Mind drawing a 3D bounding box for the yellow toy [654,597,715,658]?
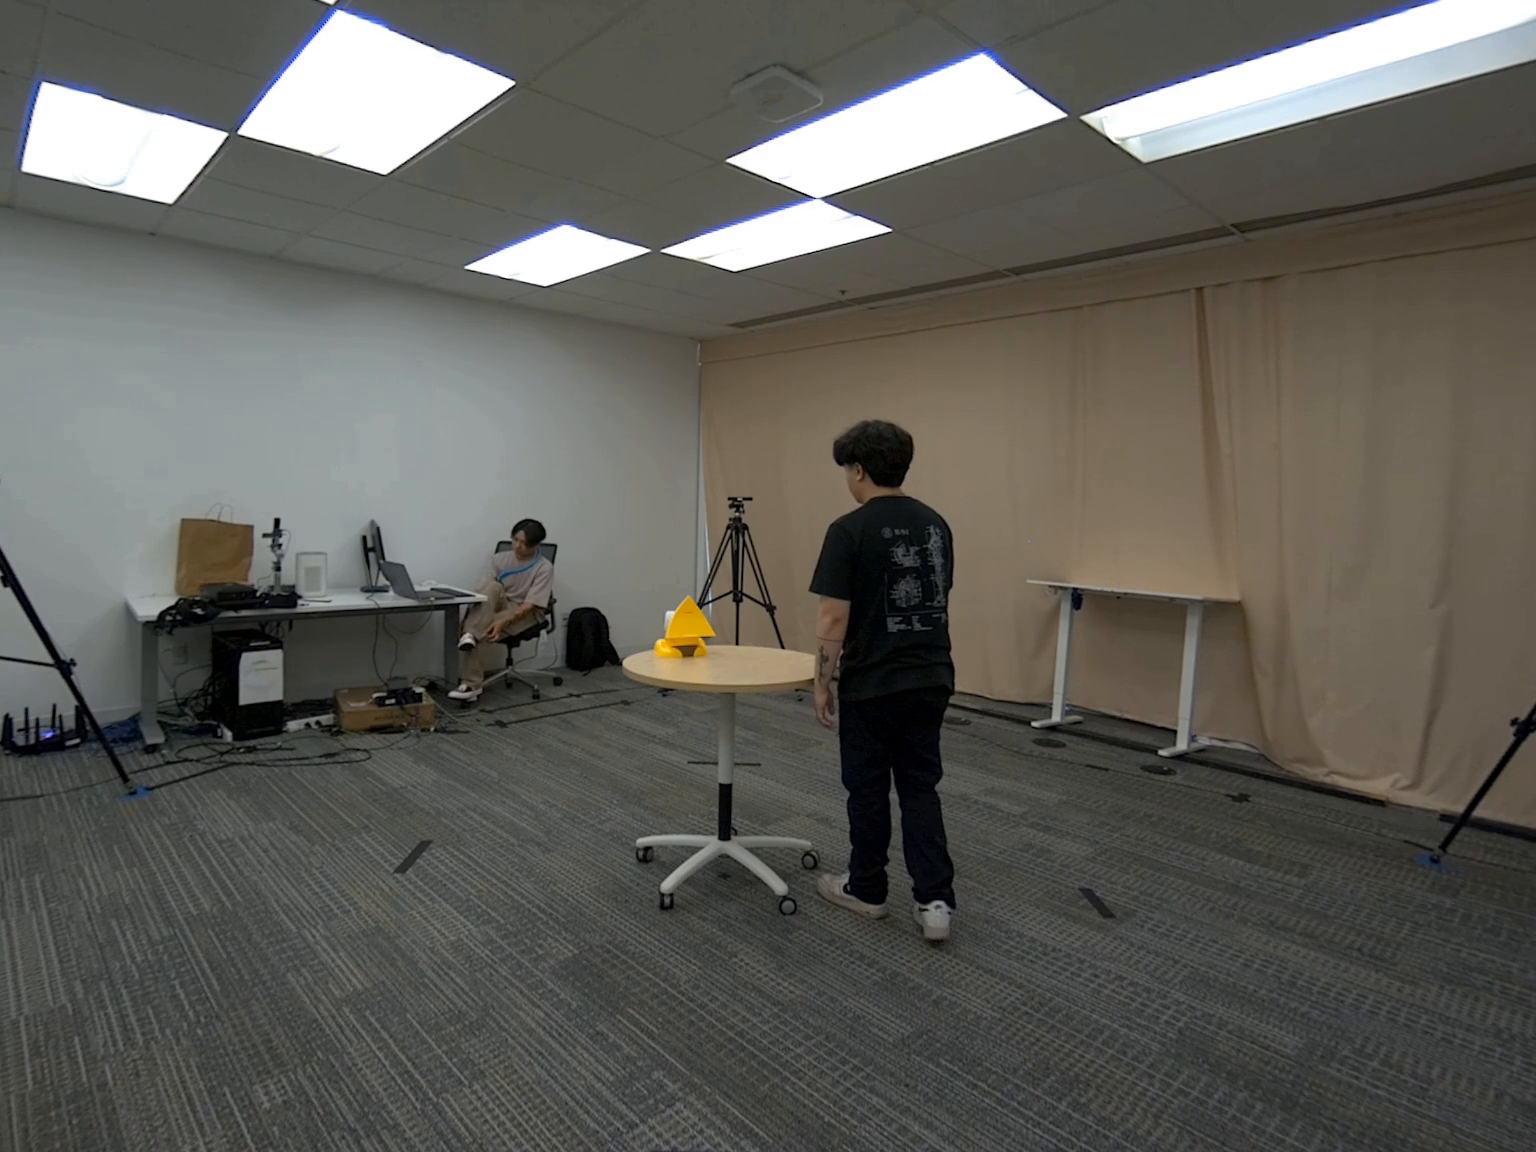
[{"bbox_3d":[-0.341,0.187,3.227,0.201,0.230,0.197,-1,4,-29],"label":"yellow toy"}]
